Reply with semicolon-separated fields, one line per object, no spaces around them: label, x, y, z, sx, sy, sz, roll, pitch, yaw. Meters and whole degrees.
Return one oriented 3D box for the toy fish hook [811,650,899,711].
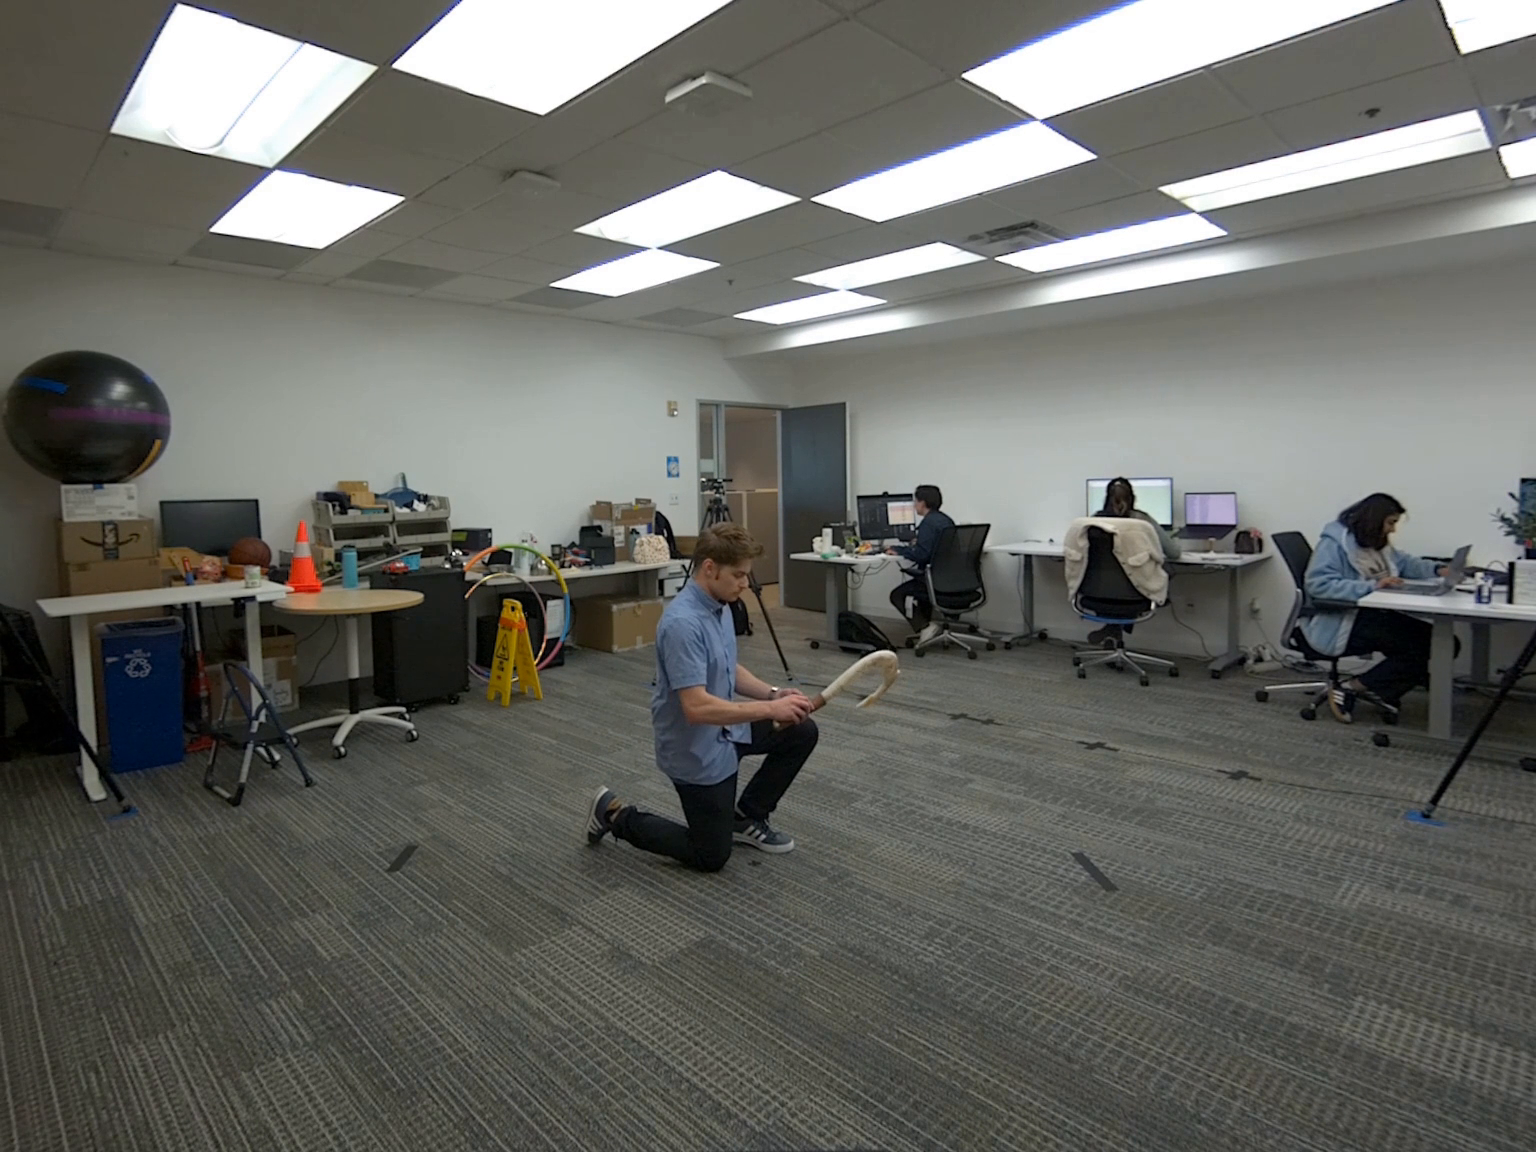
toy fish hook;0.241;0.428;2.939;0.504;0.218;0.050;-28;33;-13
